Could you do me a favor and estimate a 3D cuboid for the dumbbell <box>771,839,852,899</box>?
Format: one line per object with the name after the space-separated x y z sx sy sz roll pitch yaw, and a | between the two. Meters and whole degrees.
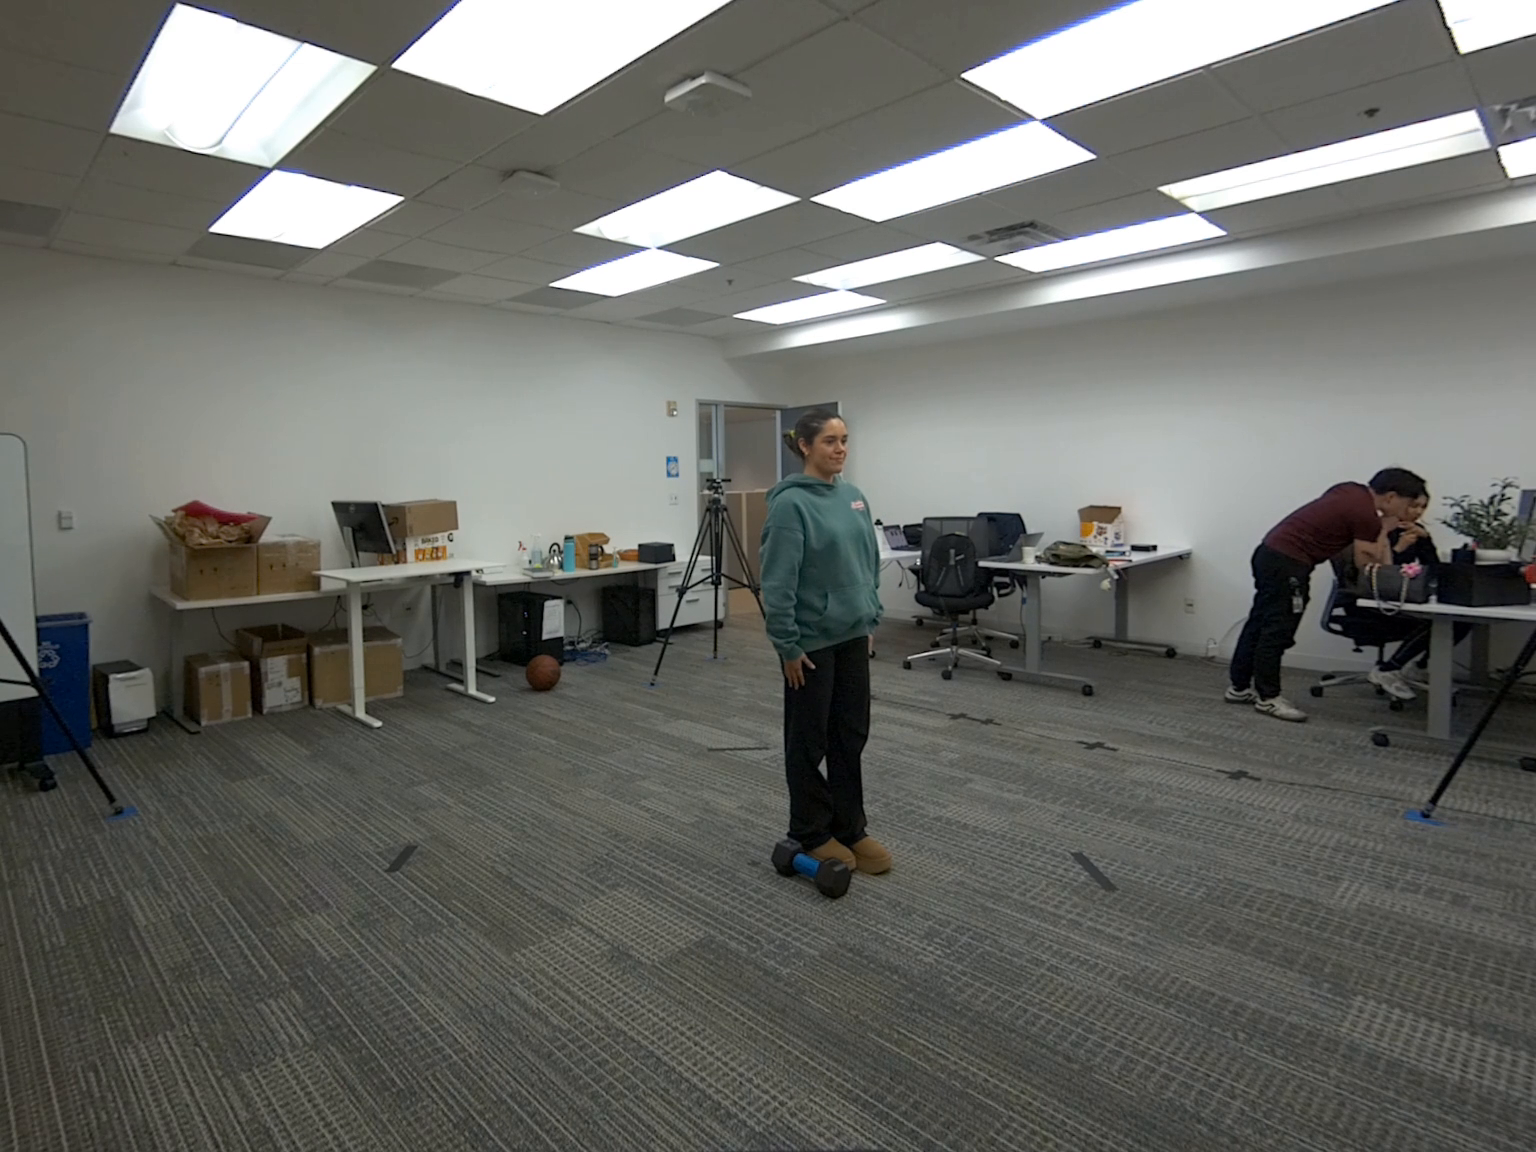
0.147 1.004 2.944 0.302 0.120 0.108 4 38 49 | dumbbell
